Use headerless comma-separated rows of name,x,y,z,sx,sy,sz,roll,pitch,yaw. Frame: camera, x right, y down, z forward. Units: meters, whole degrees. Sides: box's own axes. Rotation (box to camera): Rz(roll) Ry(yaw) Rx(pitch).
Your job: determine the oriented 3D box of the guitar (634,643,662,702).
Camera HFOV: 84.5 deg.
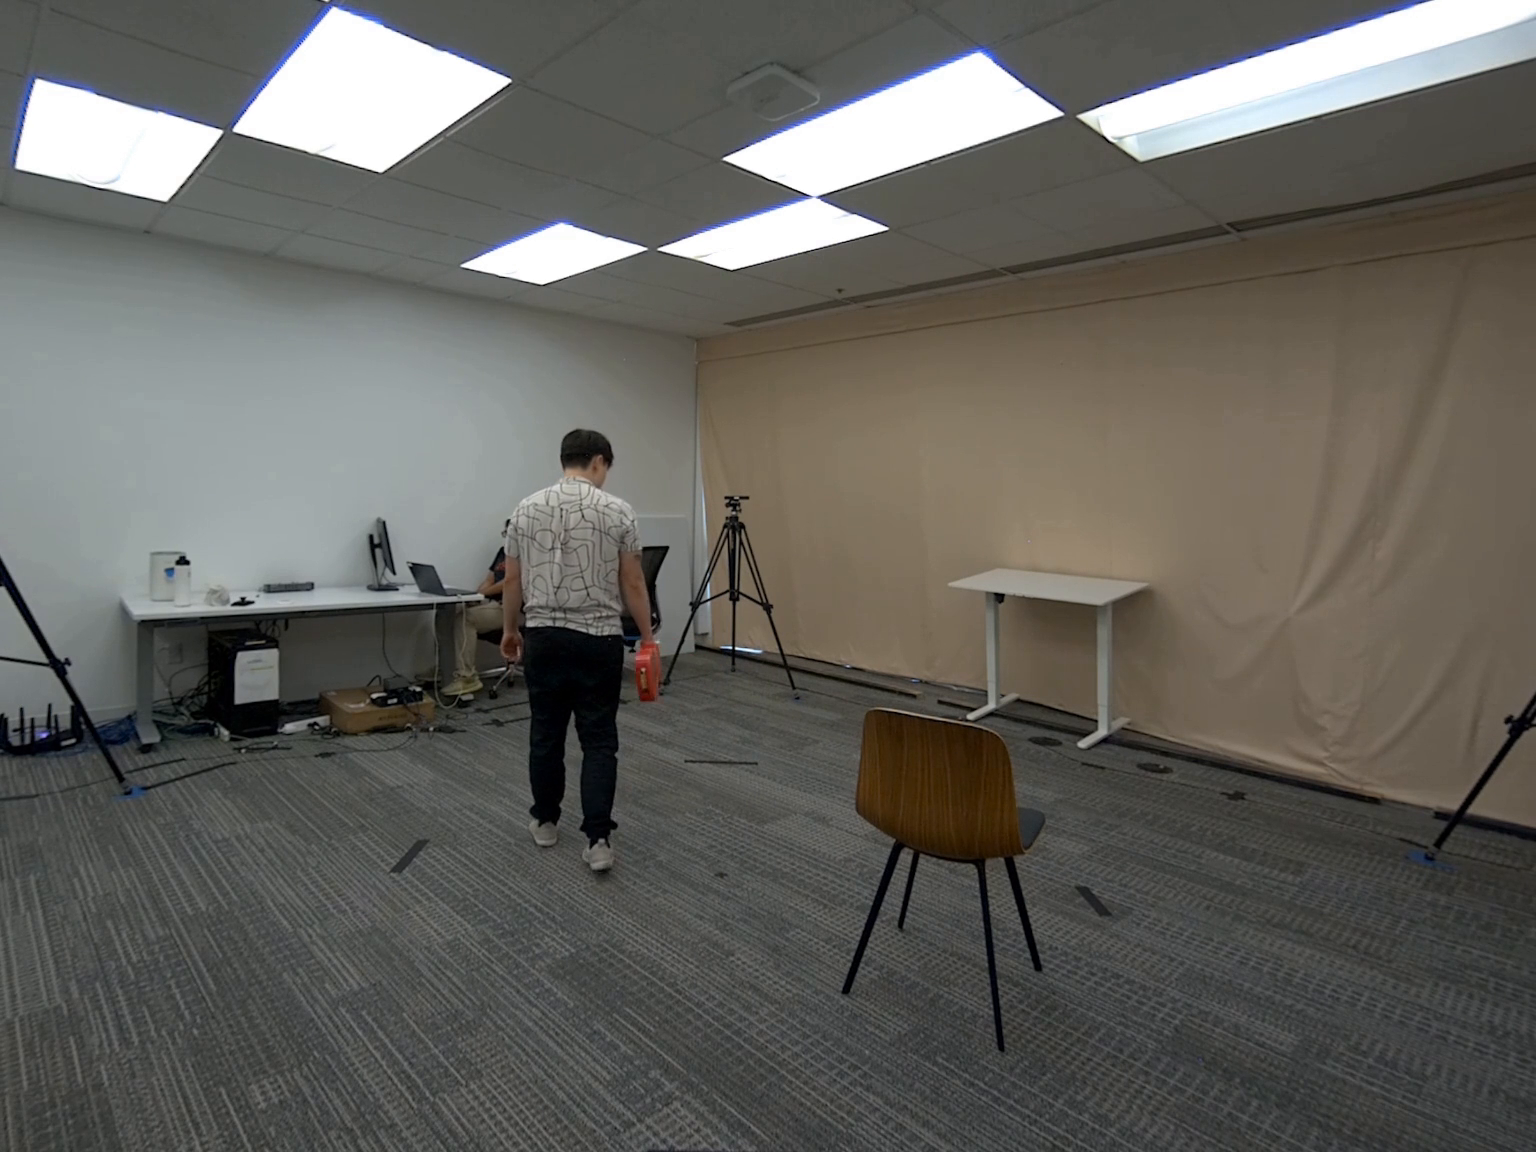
guitar,-0.471,0.311,3.313,0.071,0.190,0.505,-6,21,0
